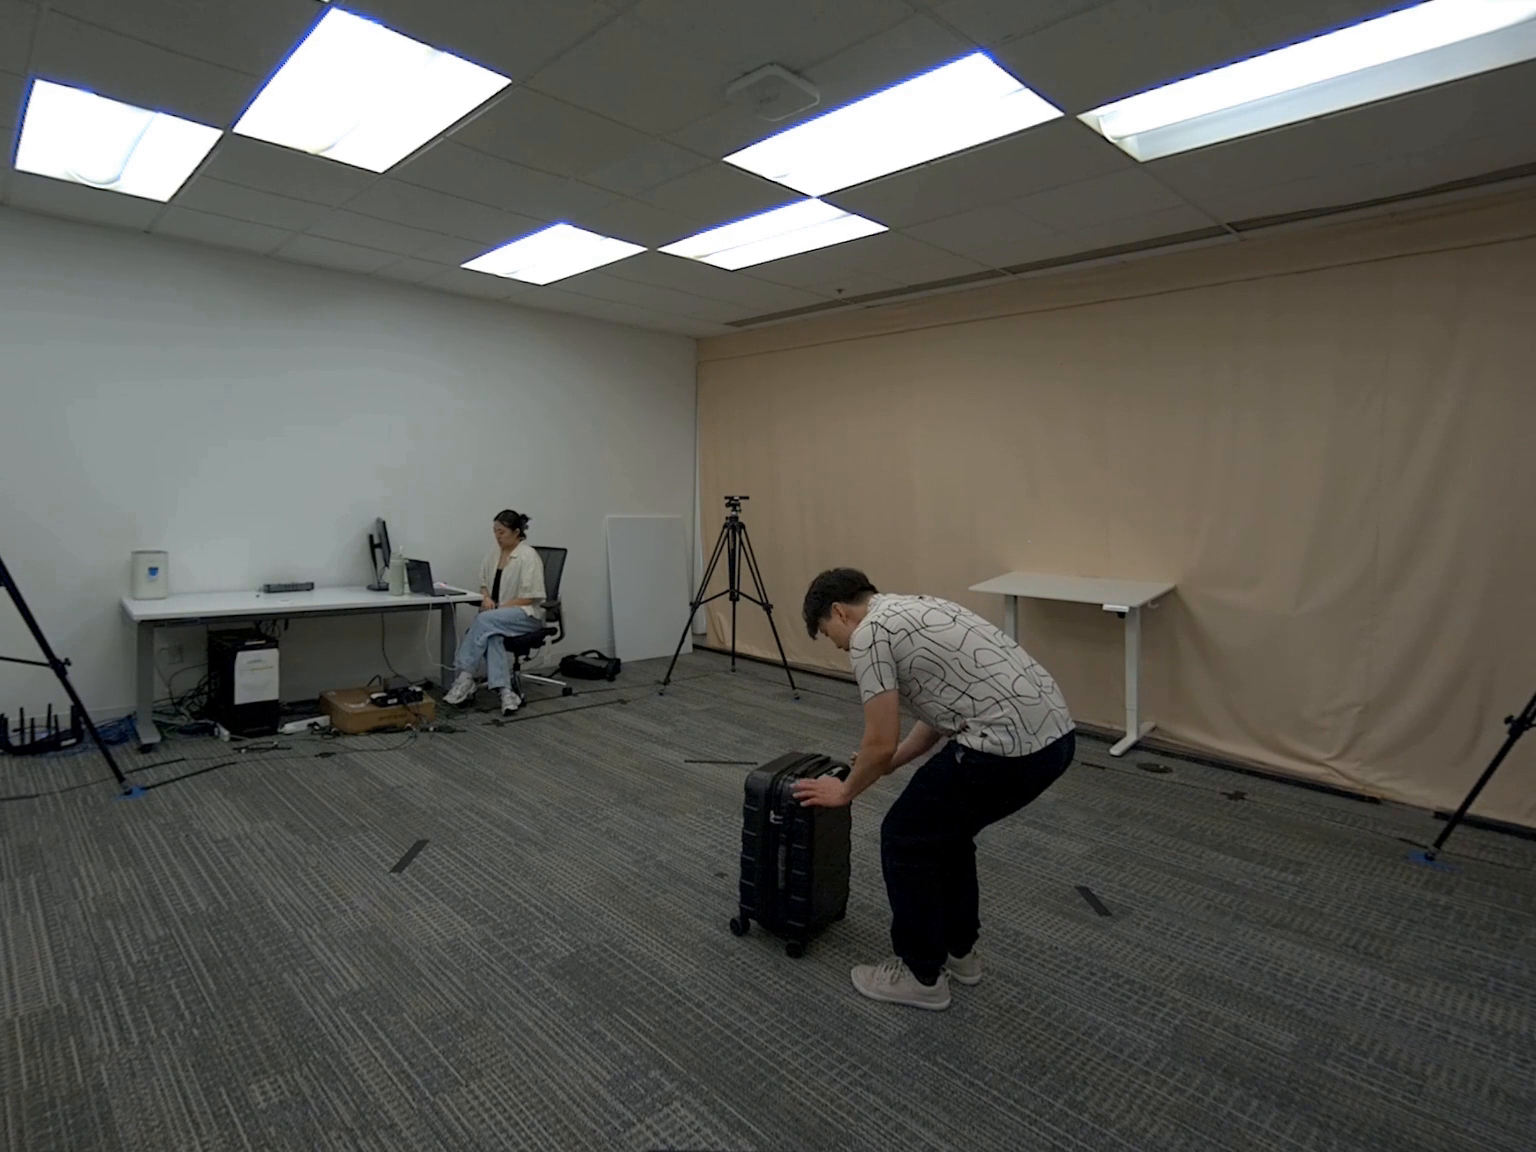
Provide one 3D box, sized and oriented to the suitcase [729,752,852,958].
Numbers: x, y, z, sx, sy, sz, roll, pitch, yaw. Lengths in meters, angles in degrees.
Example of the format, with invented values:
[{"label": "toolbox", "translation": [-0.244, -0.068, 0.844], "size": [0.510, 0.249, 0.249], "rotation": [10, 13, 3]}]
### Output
[{"label": "suitcase", "translation": [0.091, 0.869, 2.724], "size": [0.254, 0.547, 0.368], "rotation": [5, 5, 32]}]
